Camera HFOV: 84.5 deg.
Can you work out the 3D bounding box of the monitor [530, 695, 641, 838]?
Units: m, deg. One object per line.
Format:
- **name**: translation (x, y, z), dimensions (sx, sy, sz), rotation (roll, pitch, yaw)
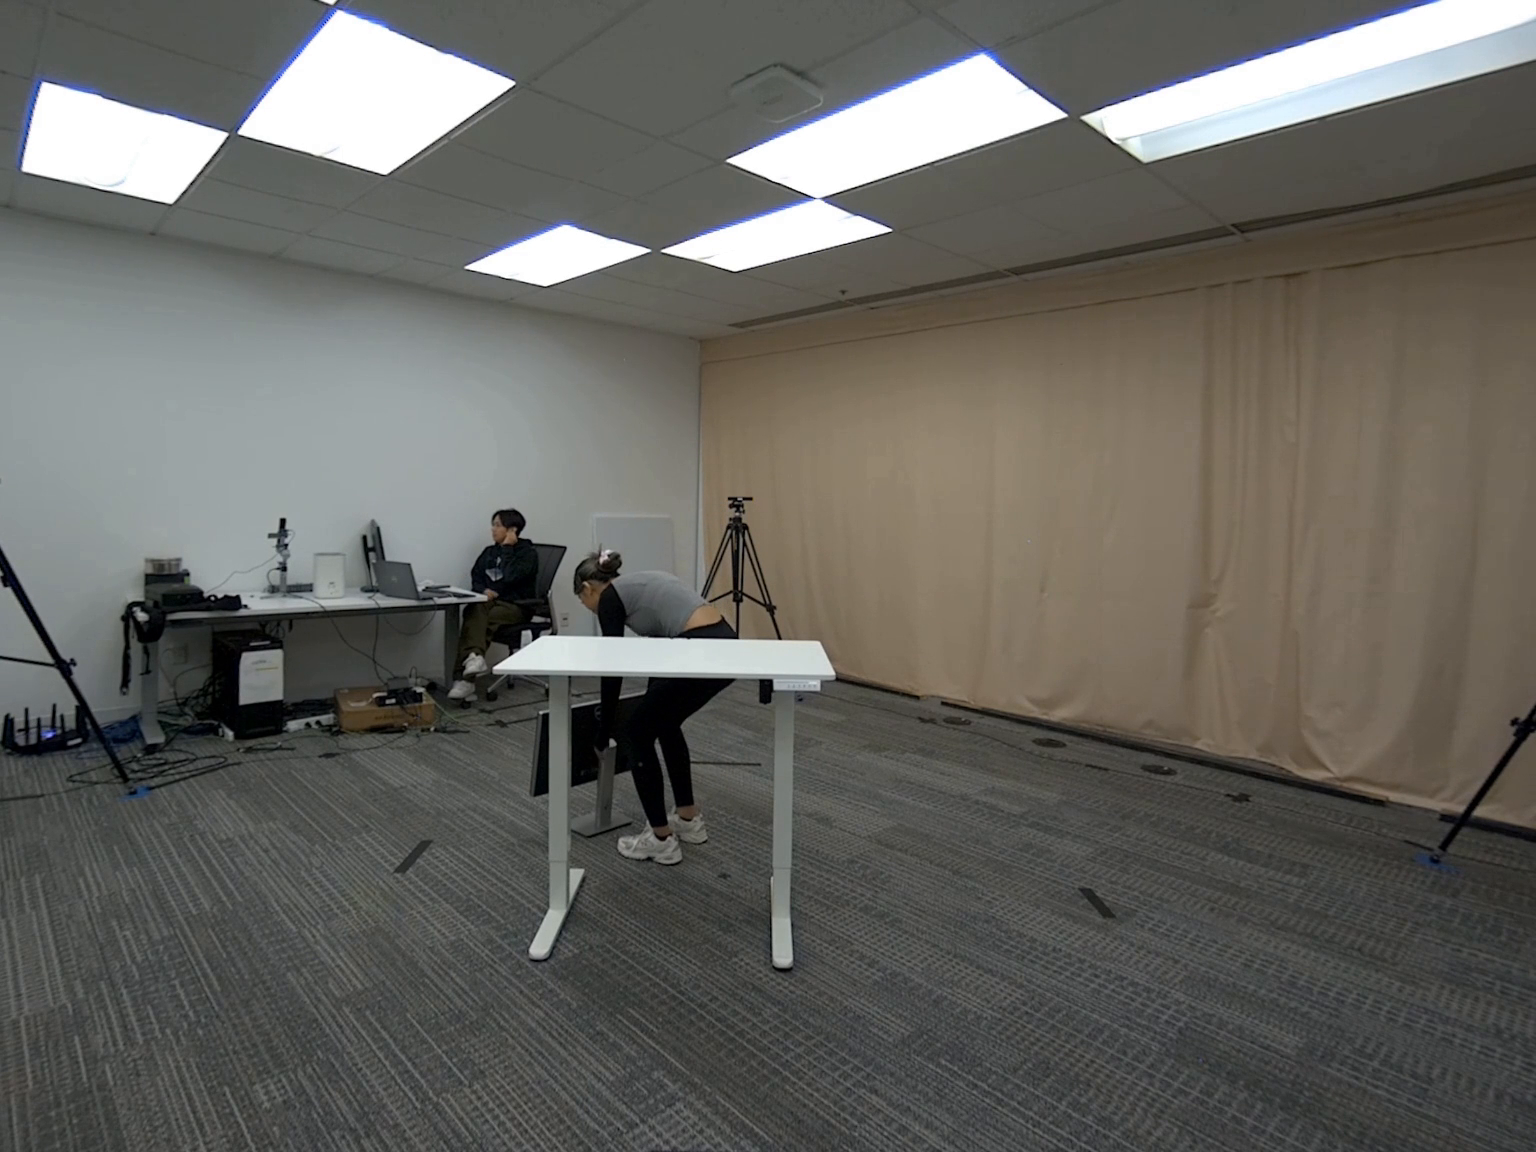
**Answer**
- **monitor**: translation (-0.728, 0.794, 3.555), dimensions (0.192, 0.522, 0.527), rotation (2, 3, 41)
